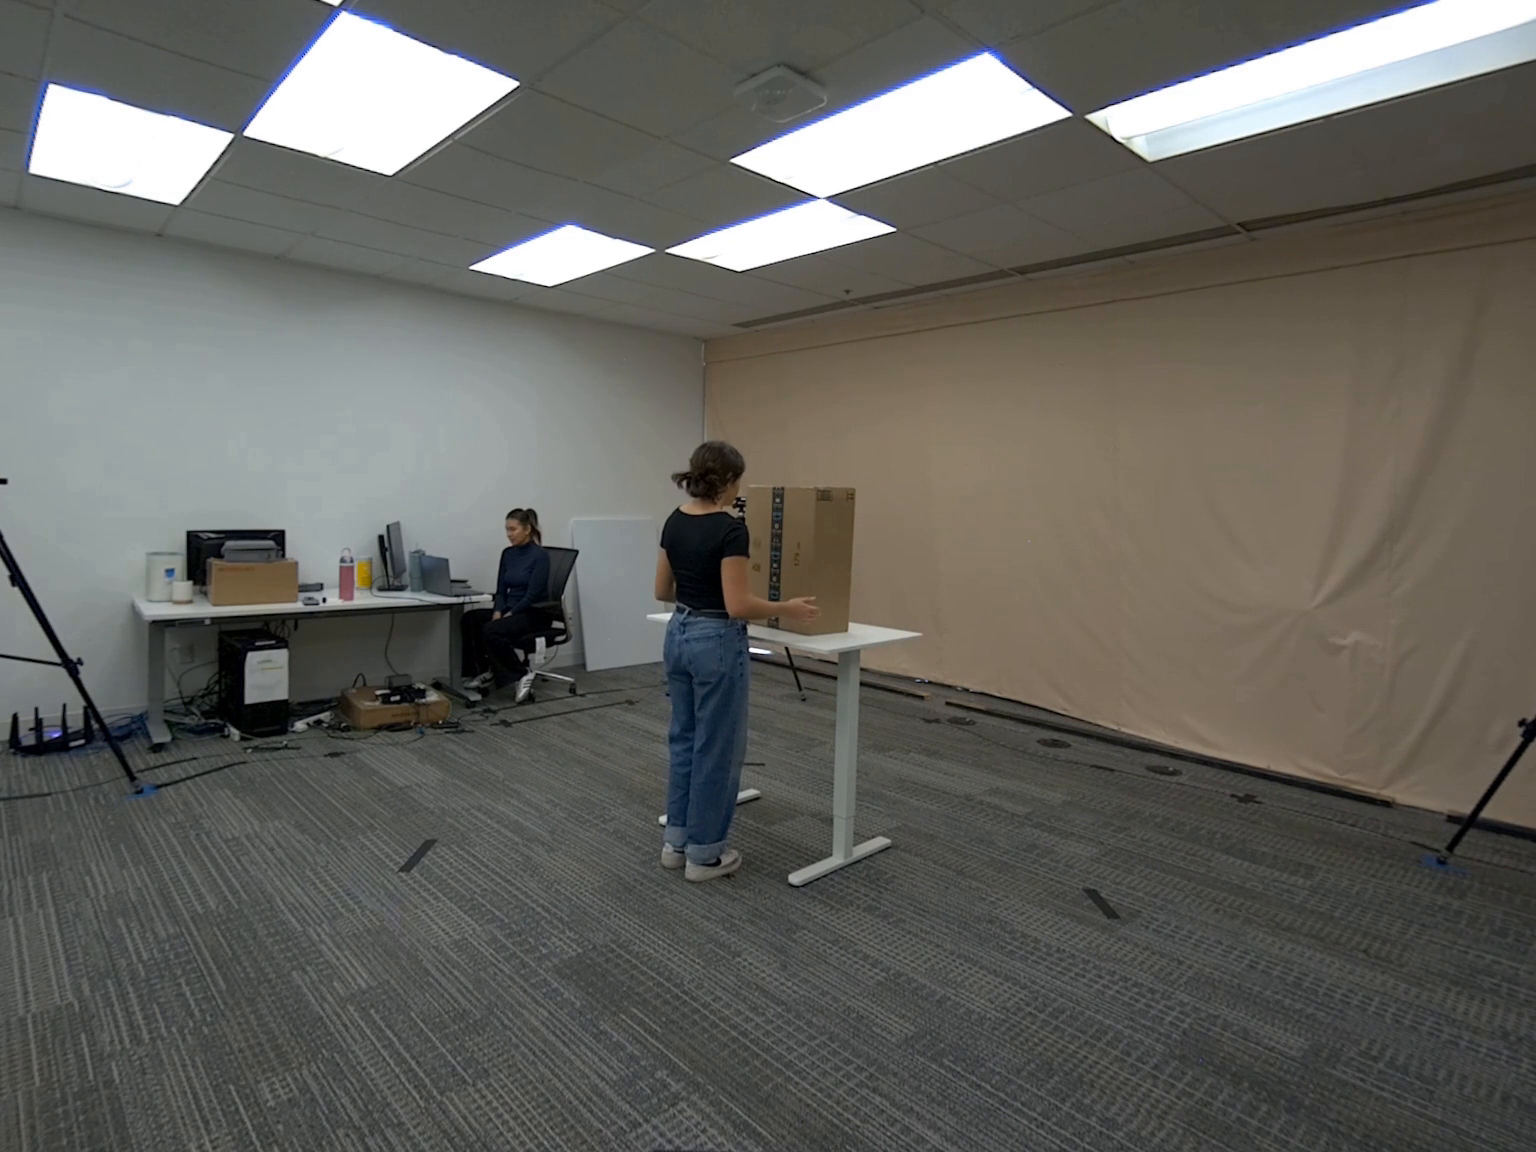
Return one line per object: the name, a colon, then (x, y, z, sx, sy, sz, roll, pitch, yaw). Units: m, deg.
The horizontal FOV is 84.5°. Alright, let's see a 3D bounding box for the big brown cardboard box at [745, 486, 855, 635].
big brown cardboard box: (0.108, -0.083, 3.383, 0.228, 0.587, 0.428, 0, 5, -39)
